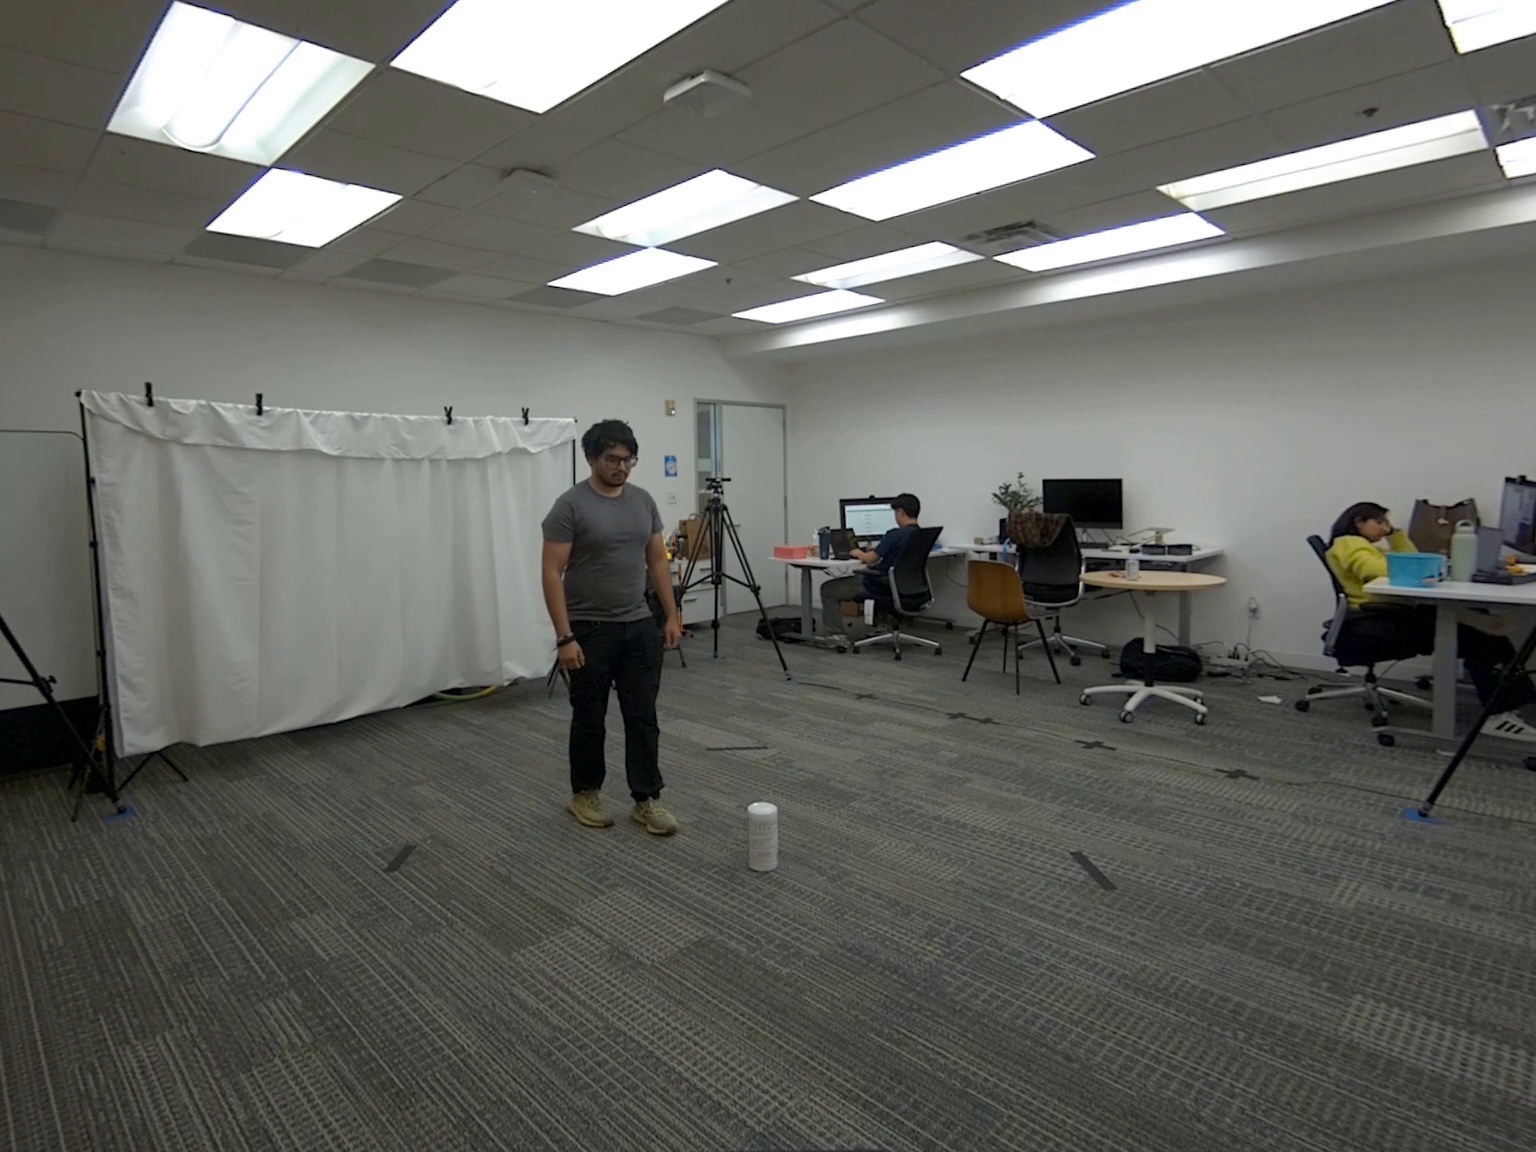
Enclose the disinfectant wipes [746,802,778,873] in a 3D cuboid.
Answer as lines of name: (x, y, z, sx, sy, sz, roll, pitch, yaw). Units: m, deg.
disinfectant wipes: (-0.012, 0.938, 3.072, 0.118, 0.216, 0.118, 0, 4, -2)
